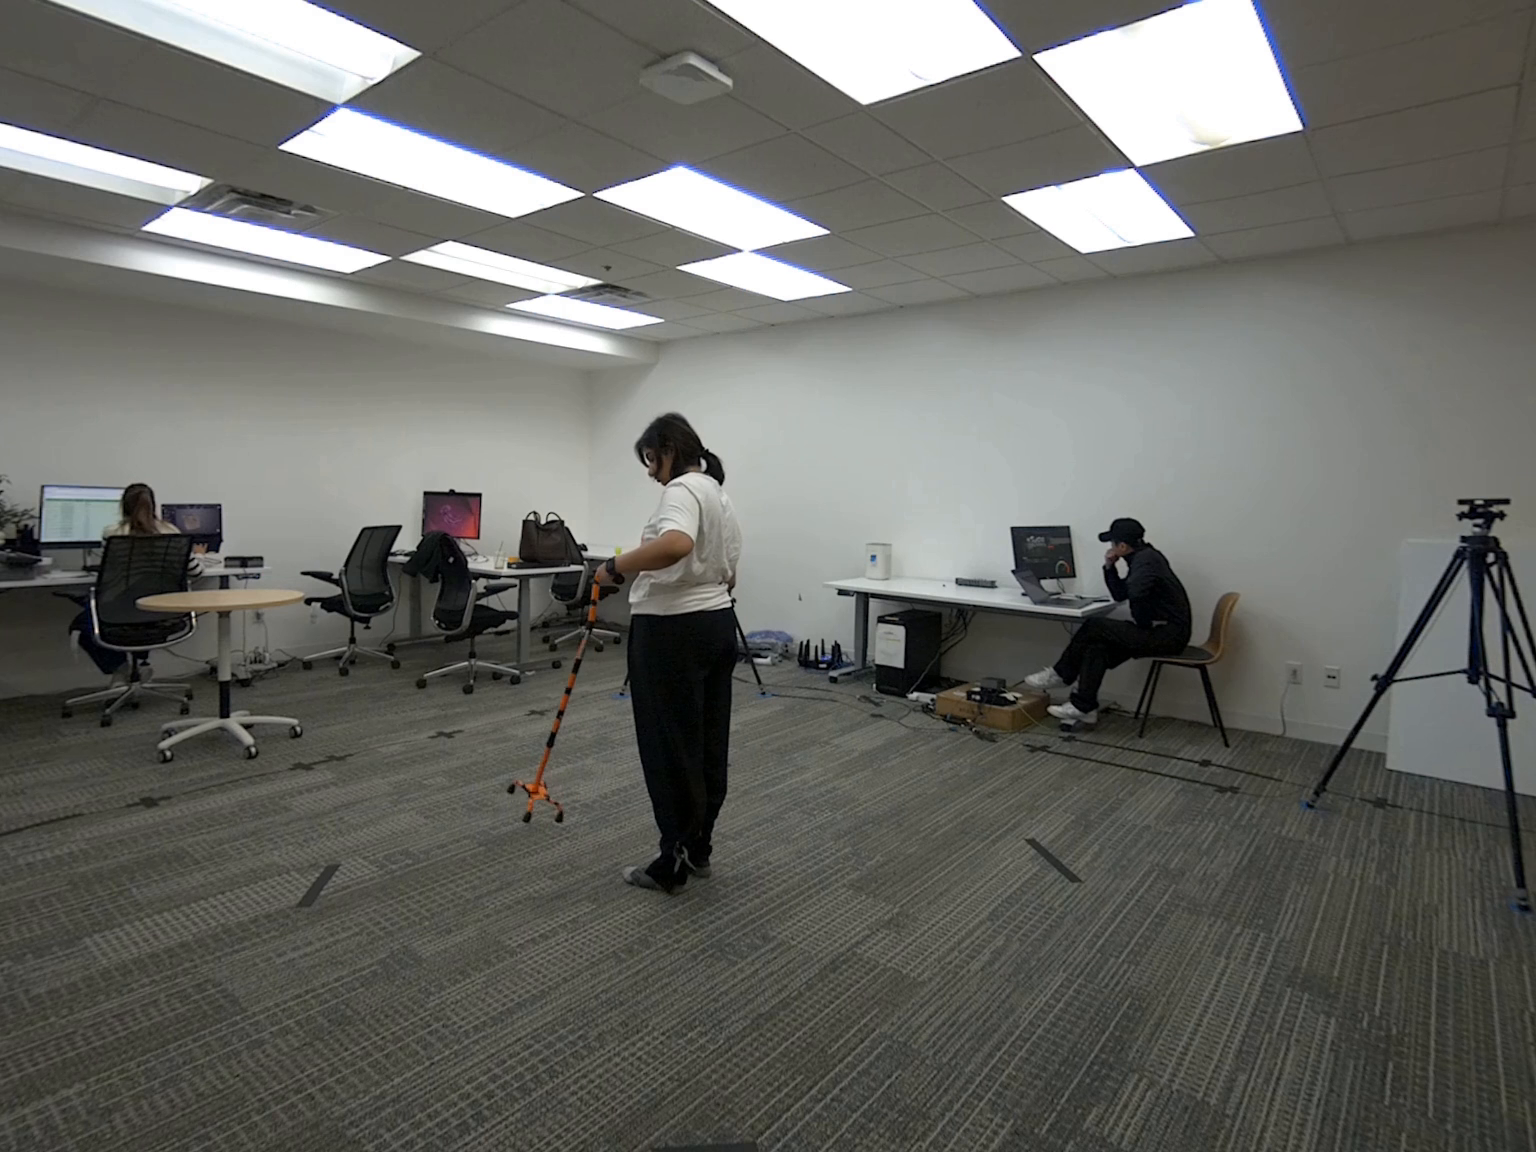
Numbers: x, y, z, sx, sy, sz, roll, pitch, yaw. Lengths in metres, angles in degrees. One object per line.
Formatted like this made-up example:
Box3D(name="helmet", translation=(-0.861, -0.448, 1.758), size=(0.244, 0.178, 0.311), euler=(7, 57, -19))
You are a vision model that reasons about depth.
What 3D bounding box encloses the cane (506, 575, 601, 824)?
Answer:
Box3D(name="cane", translation=(-0.677, 0.397, 2.925), size=(0.146, 0.904, 0.215), euler=(13, 9, -37))
